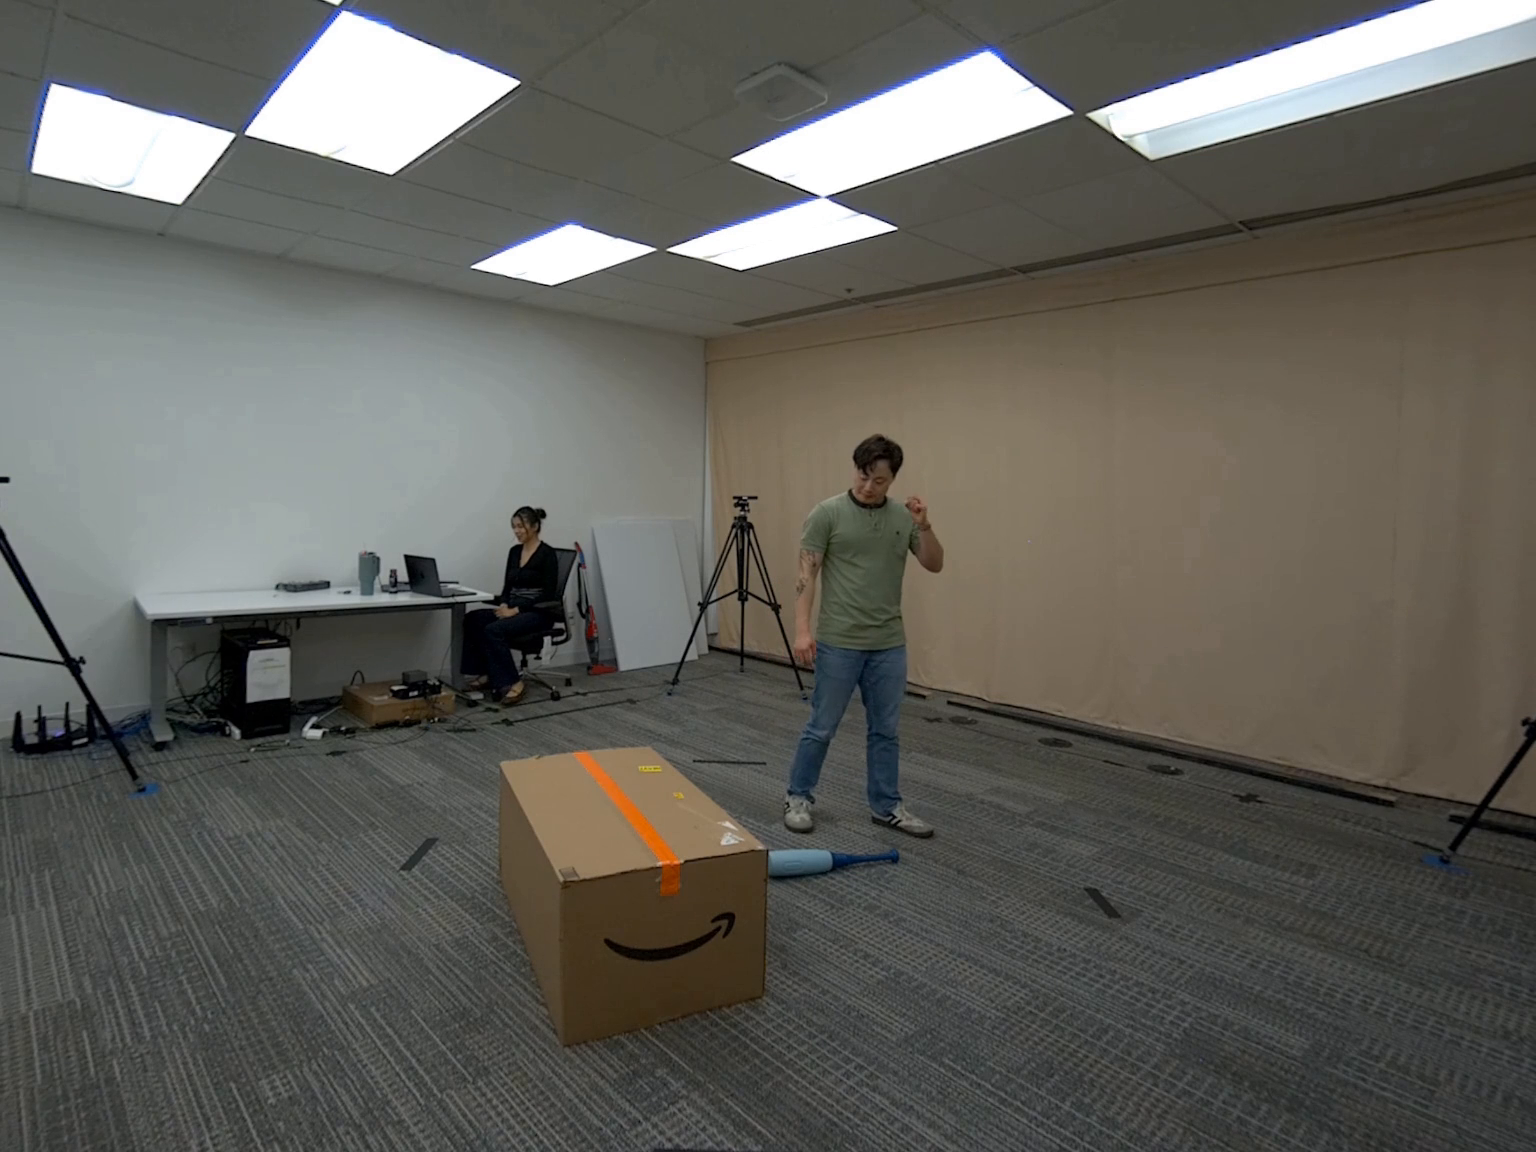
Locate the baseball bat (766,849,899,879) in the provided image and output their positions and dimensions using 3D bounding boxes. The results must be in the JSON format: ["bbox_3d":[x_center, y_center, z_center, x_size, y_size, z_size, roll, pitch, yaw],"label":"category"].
[{"bbox_3d":[0.239,1.074,3.168,0.535,0.089,0.090,3,3,-18],"label":"baseball bat"}]
